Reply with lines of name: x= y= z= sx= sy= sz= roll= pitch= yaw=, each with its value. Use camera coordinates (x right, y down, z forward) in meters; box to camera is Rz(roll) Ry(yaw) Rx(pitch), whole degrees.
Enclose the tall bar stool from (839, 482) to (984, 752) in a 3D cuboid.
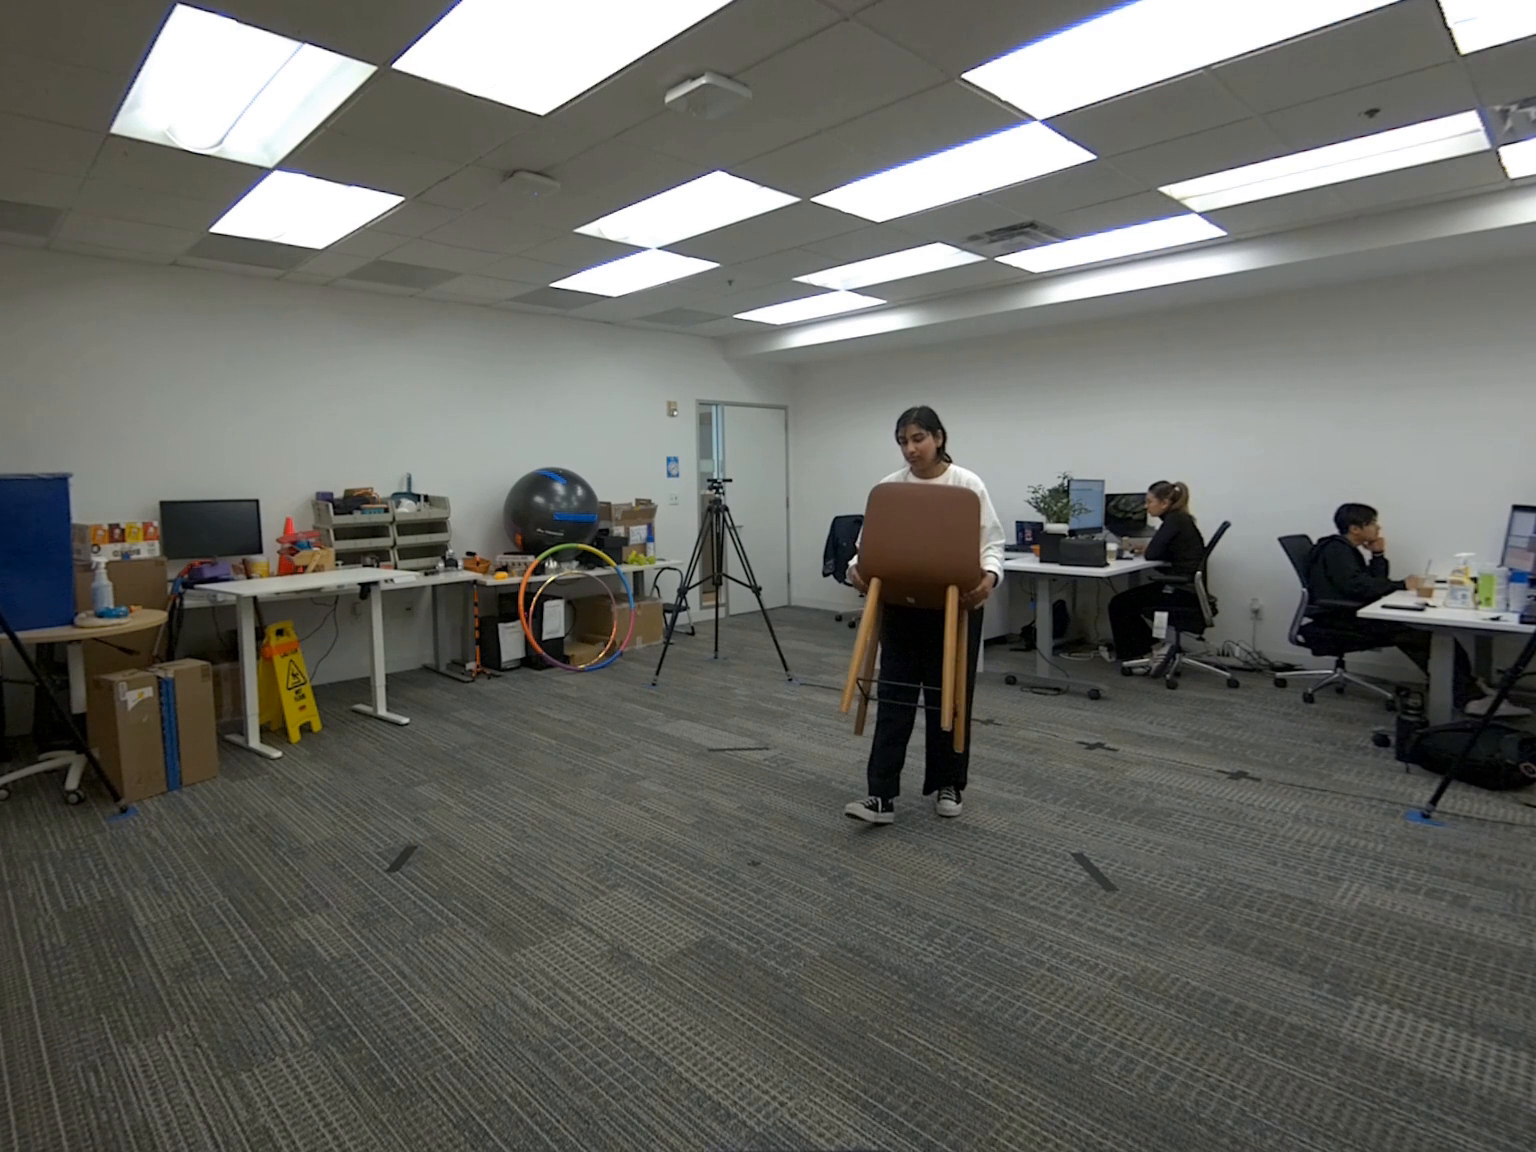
tall bar stool: x=0.547 y=0.153 z=3.199 sx=0.466 sy=0.901 sz=0.452 roll=3 pitch=-19 yaw=20
